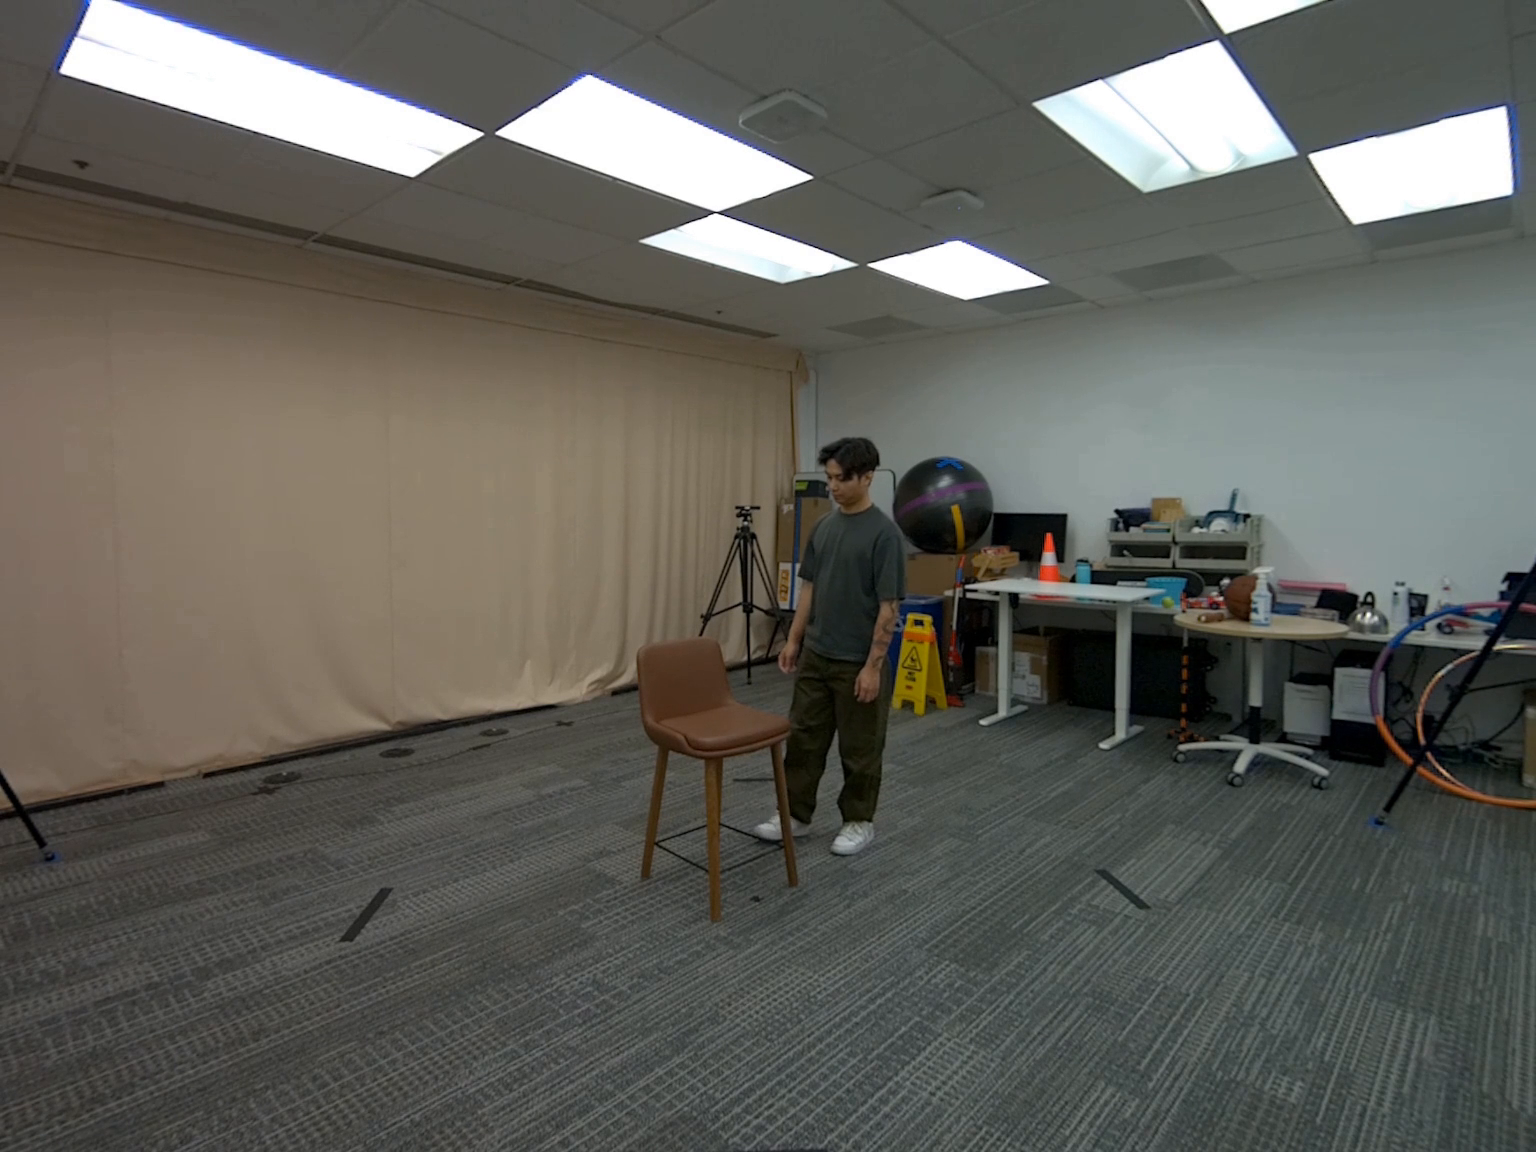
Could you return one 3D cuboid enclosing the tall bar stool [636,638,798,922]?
[{"bbox_3d":[-0.195,0.700,3.092,0.442,0.889,0.483,-3,2,-43],"label":"tall bar stool"}]
